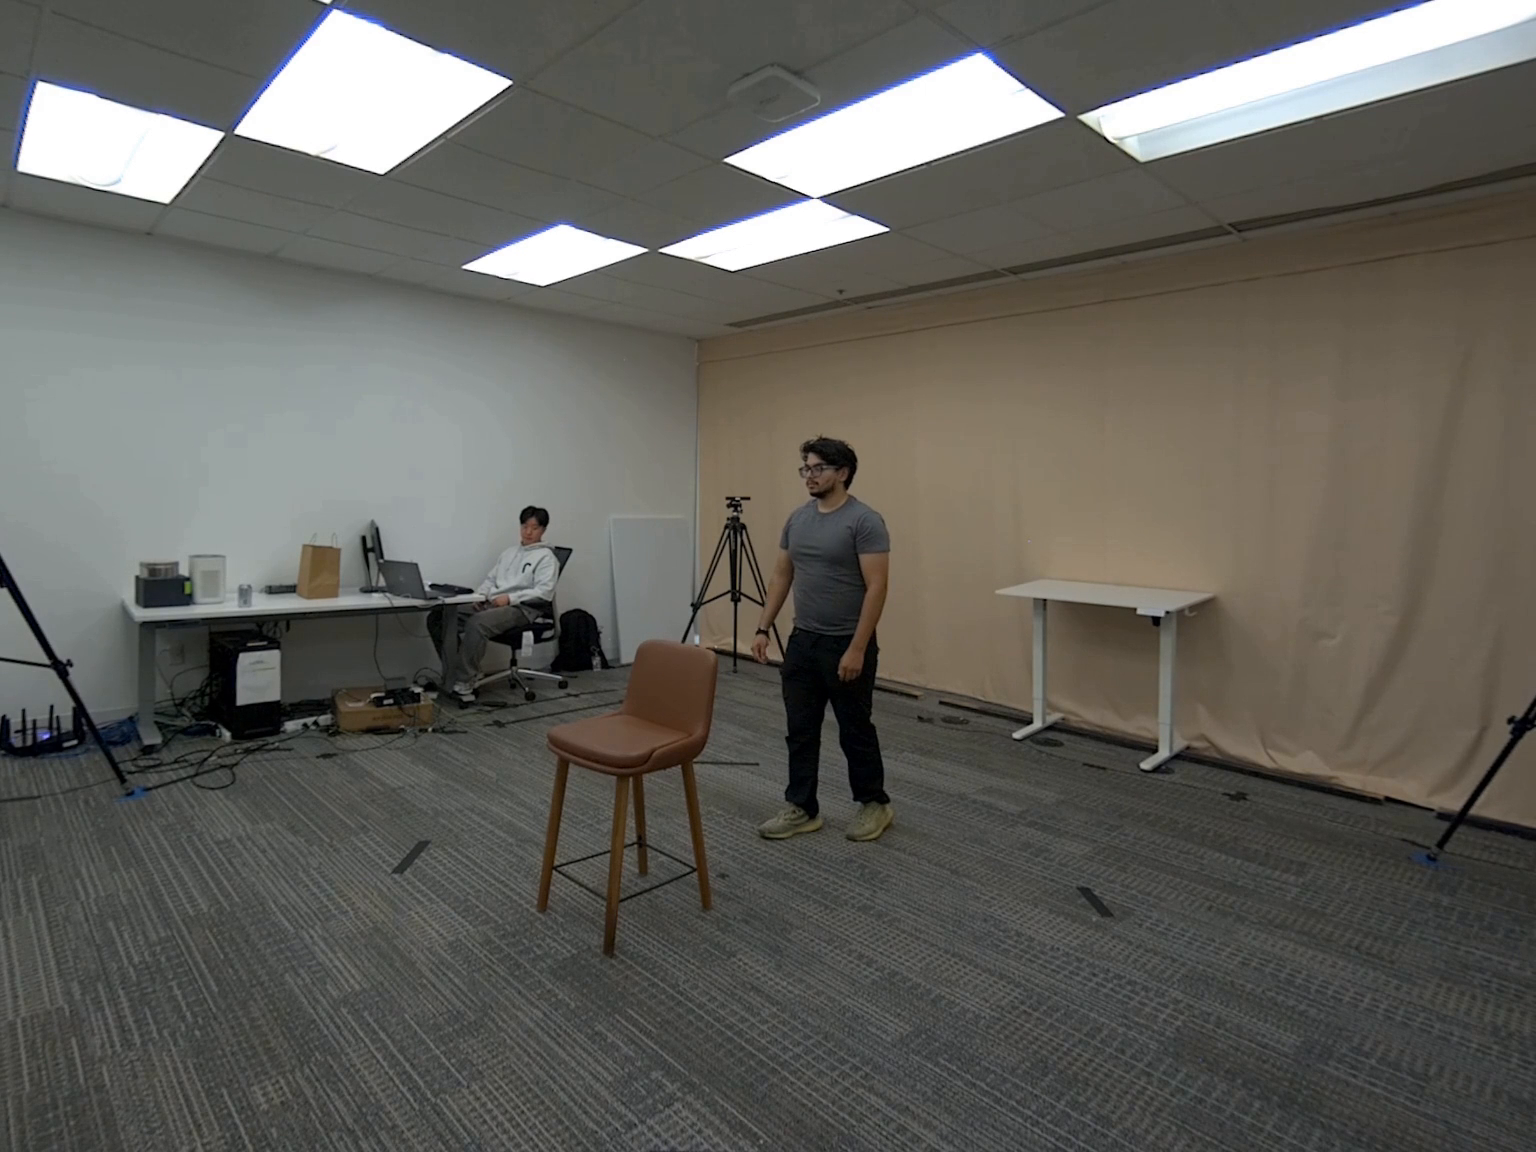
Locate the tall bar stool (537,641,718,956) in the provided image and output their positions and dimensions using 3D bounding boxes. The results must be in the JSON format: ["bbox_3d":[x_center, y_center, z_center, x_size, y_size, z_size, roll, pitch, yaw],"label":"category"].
[{"bbox_3d":[-0.468,0.691,2.812,0.468,0.889,0.456,4,3,45],"label":"tall bar stool"}]
